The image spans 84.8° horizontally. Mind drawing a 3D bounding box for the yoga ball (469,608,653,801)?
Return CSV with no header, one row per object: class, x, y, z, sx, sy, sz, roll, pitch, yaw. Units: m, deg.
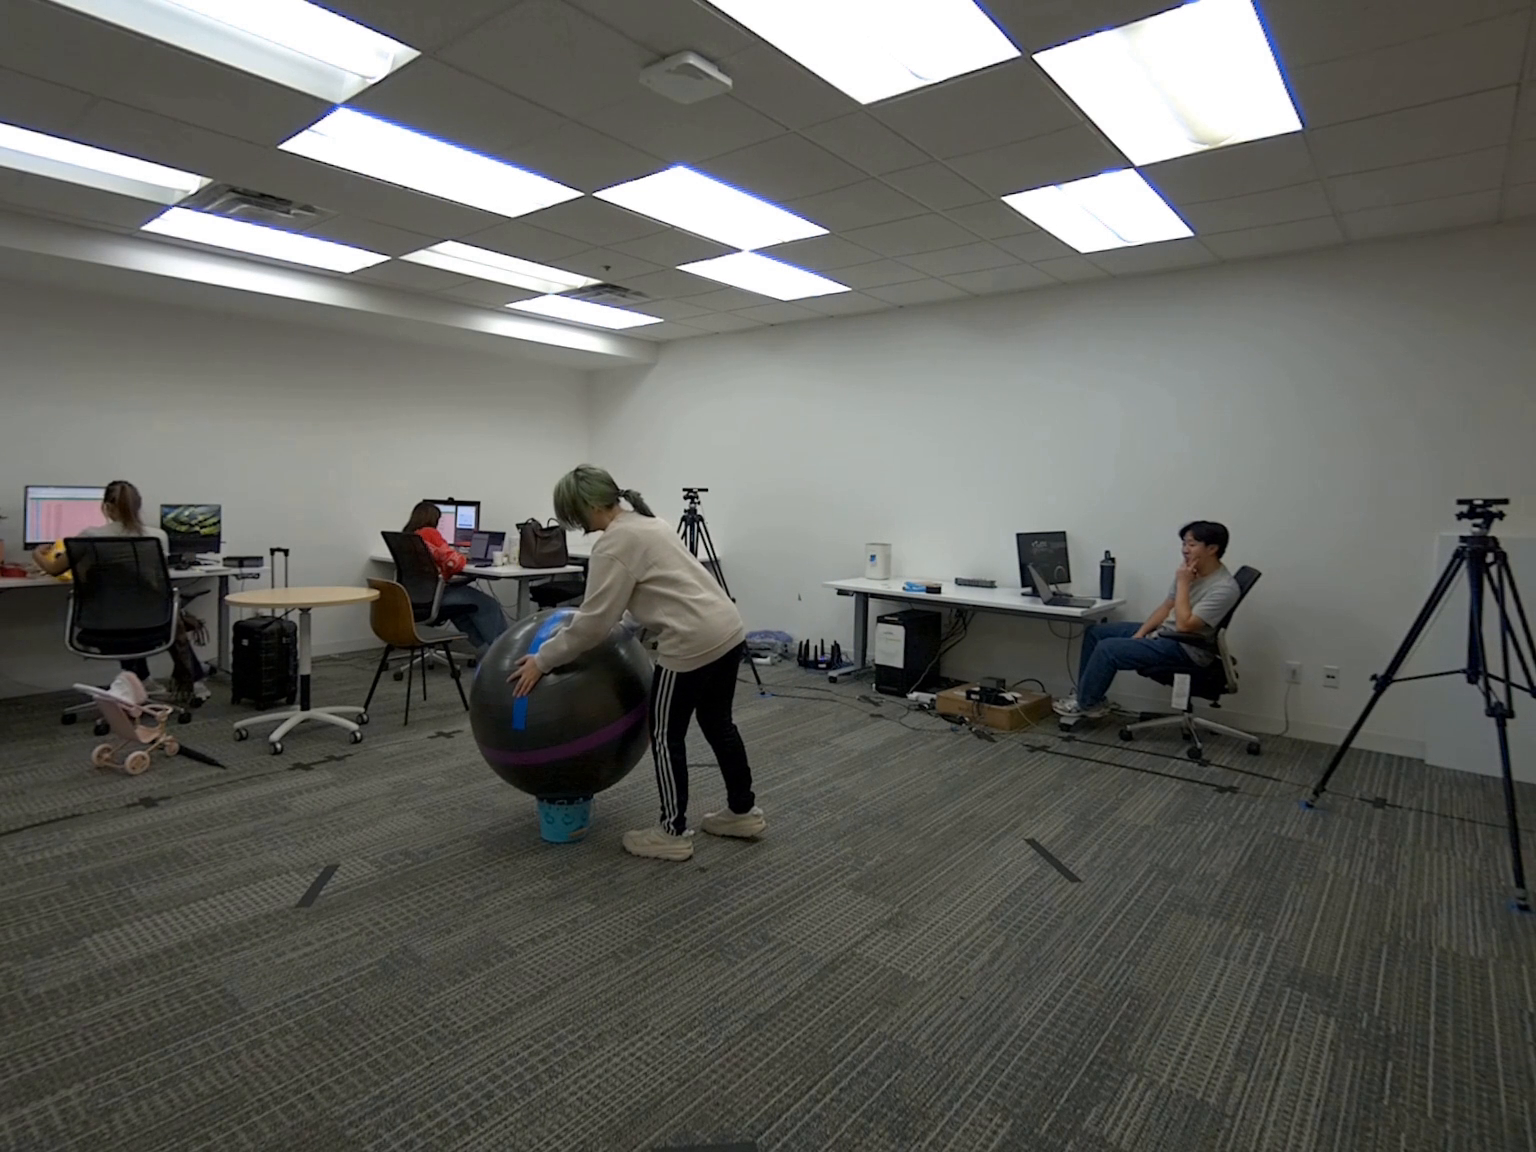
yoga ball,-0.835,0.507,3.438,0.757,0.755,0.762,1,4,-2
